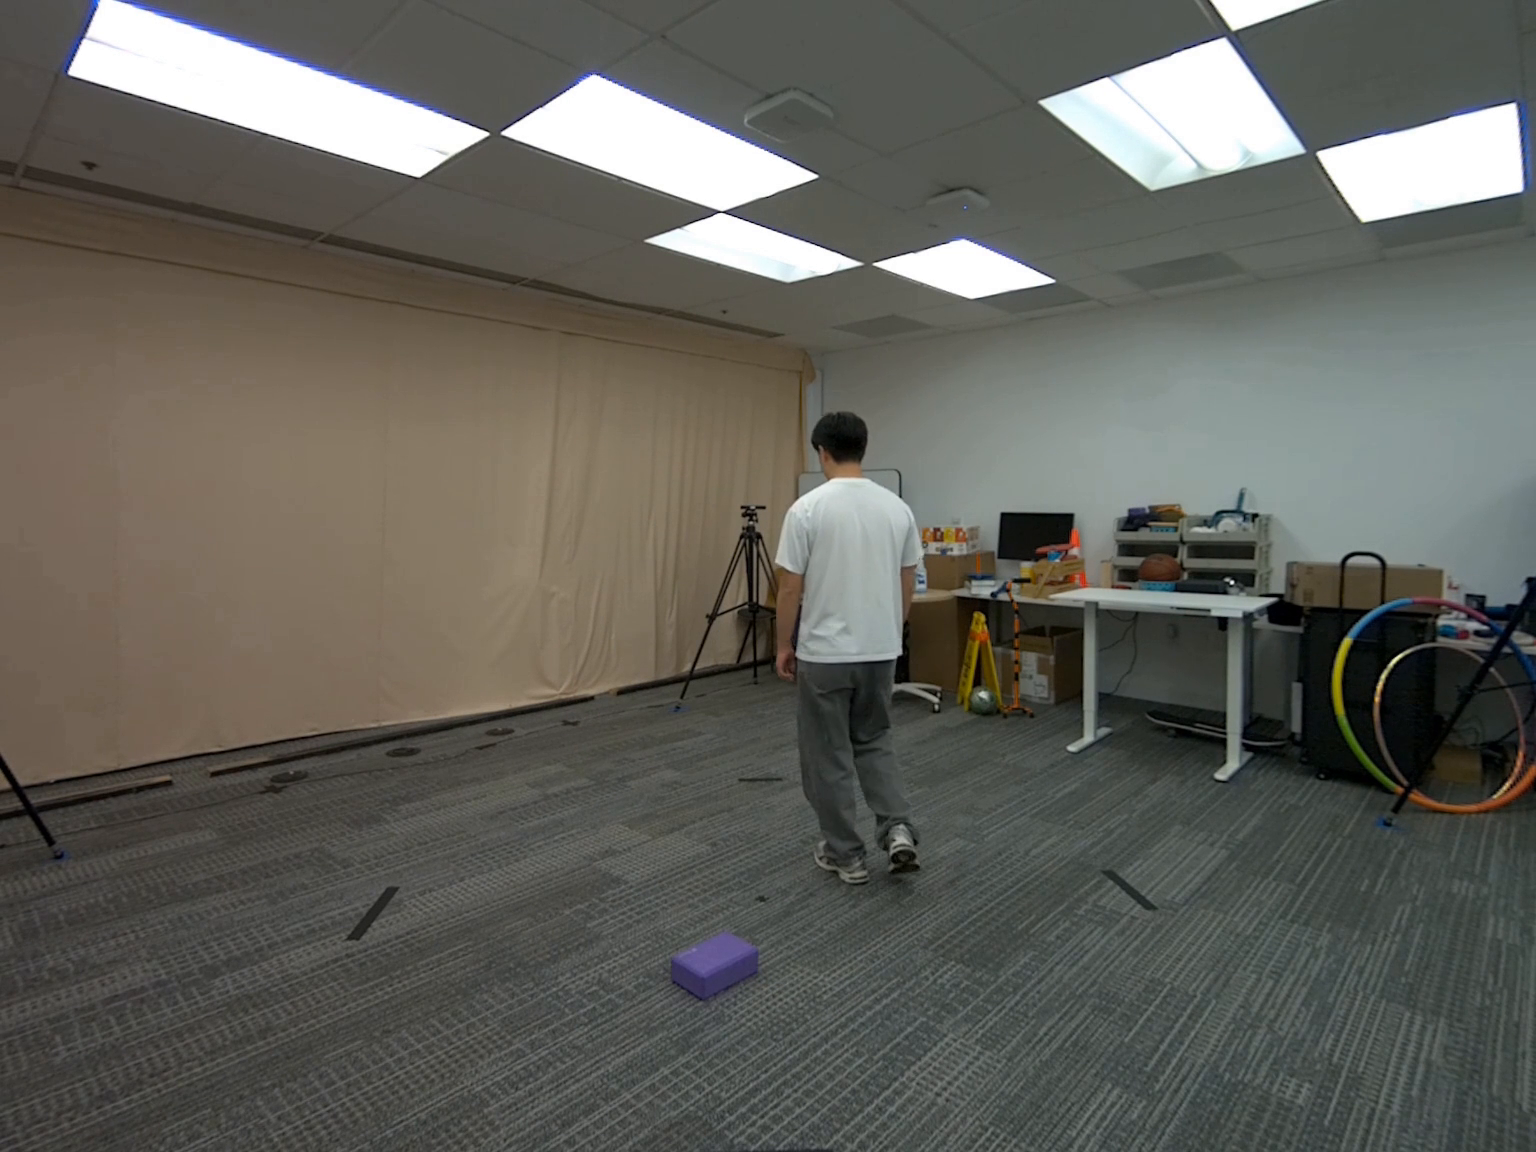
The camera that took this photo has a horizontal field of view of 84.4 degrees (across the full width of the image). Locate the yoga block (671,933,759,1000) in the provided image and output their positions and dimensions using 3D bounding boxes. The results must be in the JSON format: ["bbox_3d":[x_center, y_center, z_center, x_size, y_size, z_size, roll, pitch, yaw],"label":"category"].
[{"bbox_3d":[-0.148,1.150,2.484,0.222,0.076,0.154,-5,6,-44],"label":"yoga block"}]
